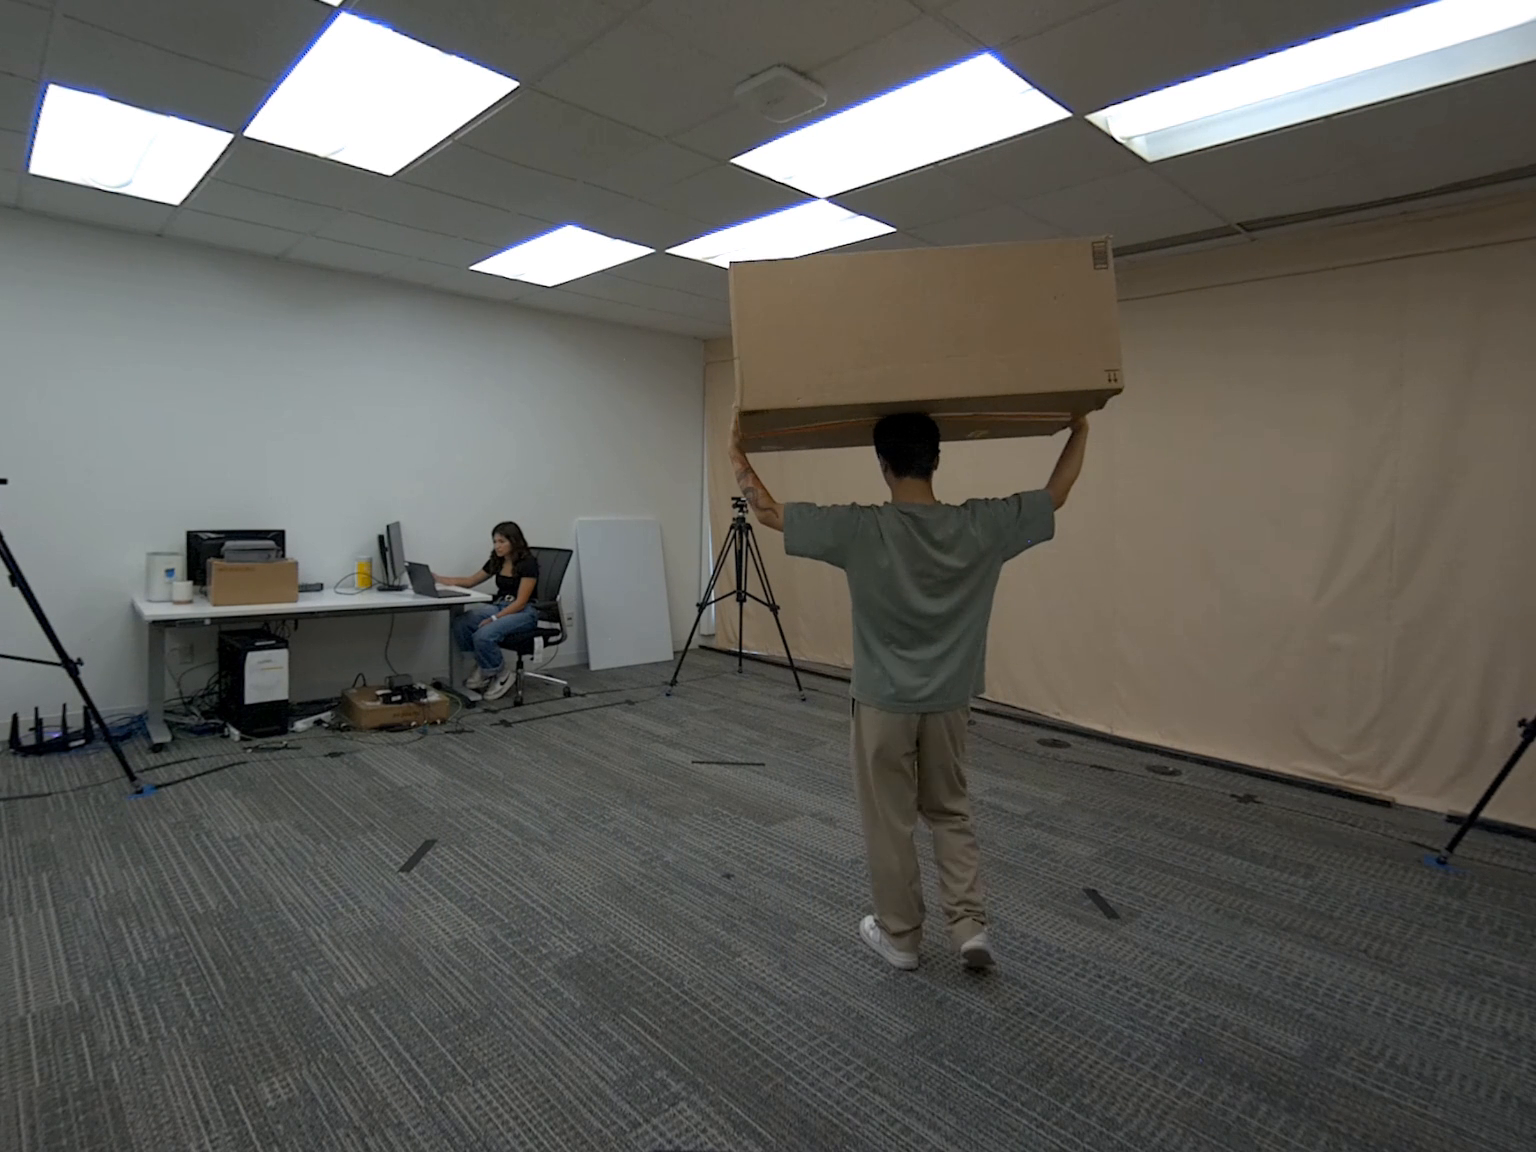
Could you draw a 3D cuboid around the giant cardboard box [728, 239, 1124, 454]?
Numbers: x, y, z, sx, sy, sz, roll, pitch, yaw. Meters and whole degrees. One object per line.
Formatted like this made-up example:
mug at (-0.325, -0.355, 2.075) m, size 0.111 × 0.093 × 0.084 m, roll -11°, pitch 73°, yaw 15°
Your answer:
giant cardboard box at (0.406, -0.654, 2.517) m, size 1.027 × 0.428 × 0.574 m, roll -3°, pitch -5°, yaw 1°
